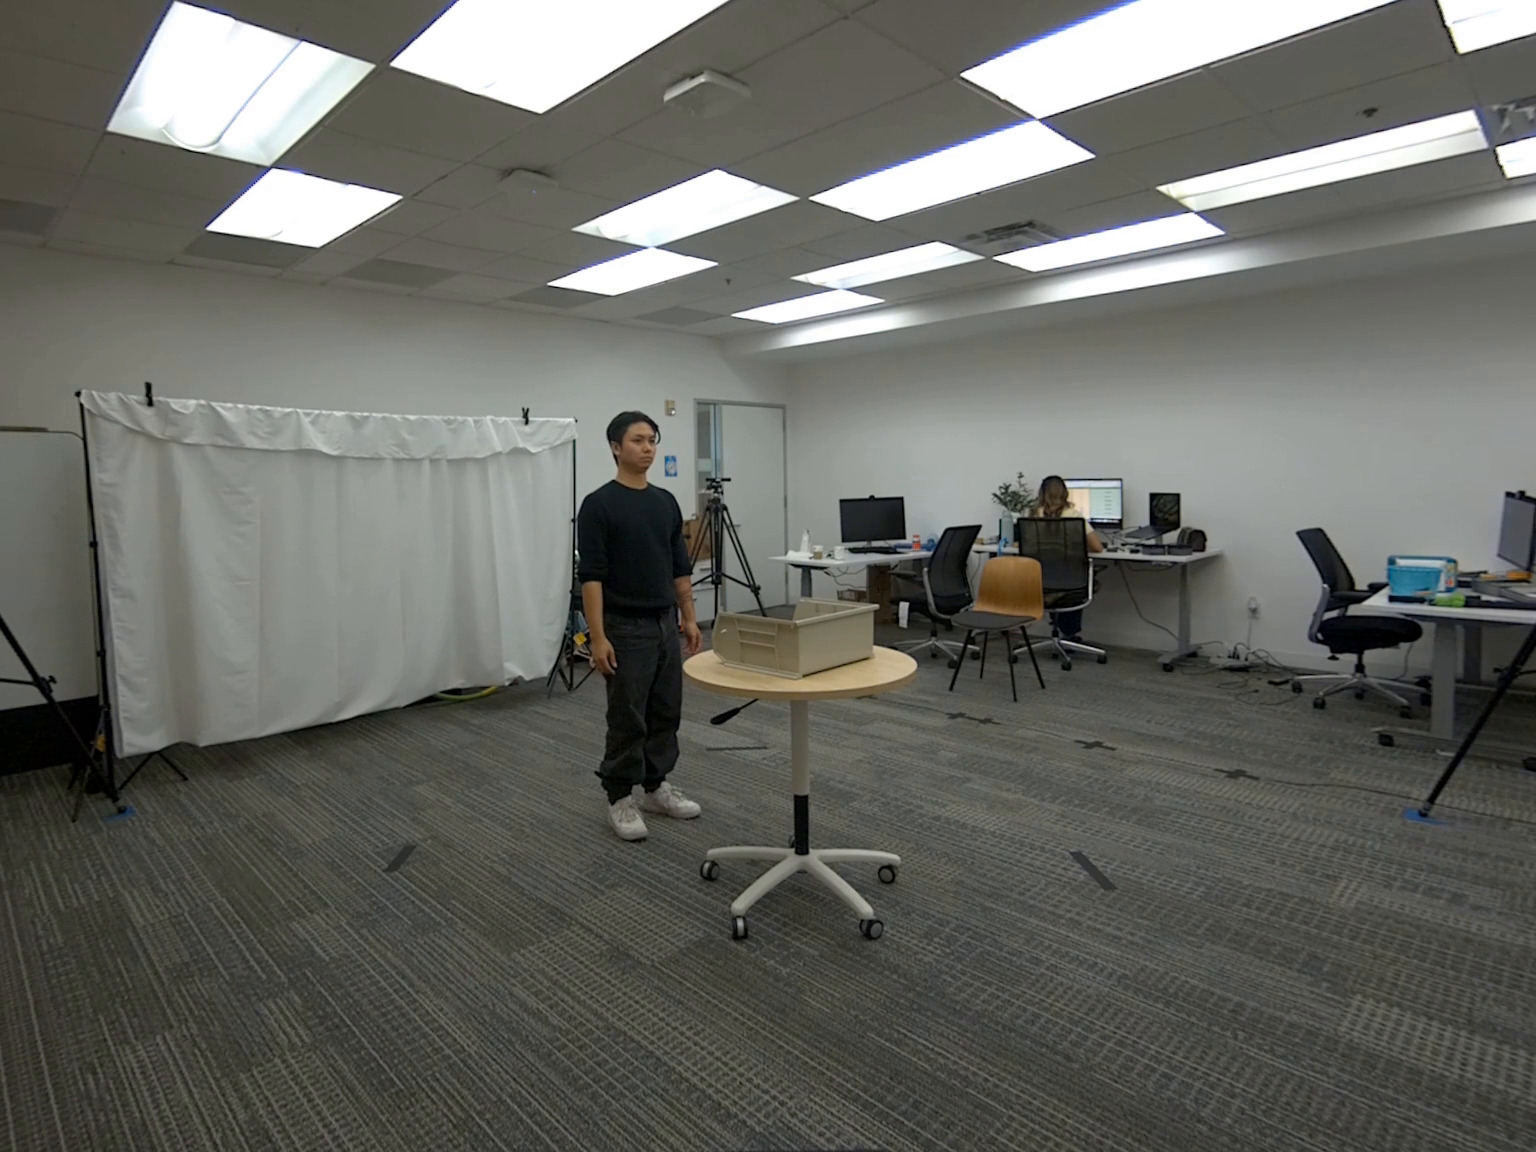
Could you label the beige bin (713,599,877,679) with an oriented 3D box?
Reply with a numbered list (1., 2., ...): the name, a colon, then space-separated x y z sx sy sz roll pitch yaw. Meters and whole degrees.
1. beige bin: 0.090 0.196 2.844 0.389 0.188 0.411 6 9 44
